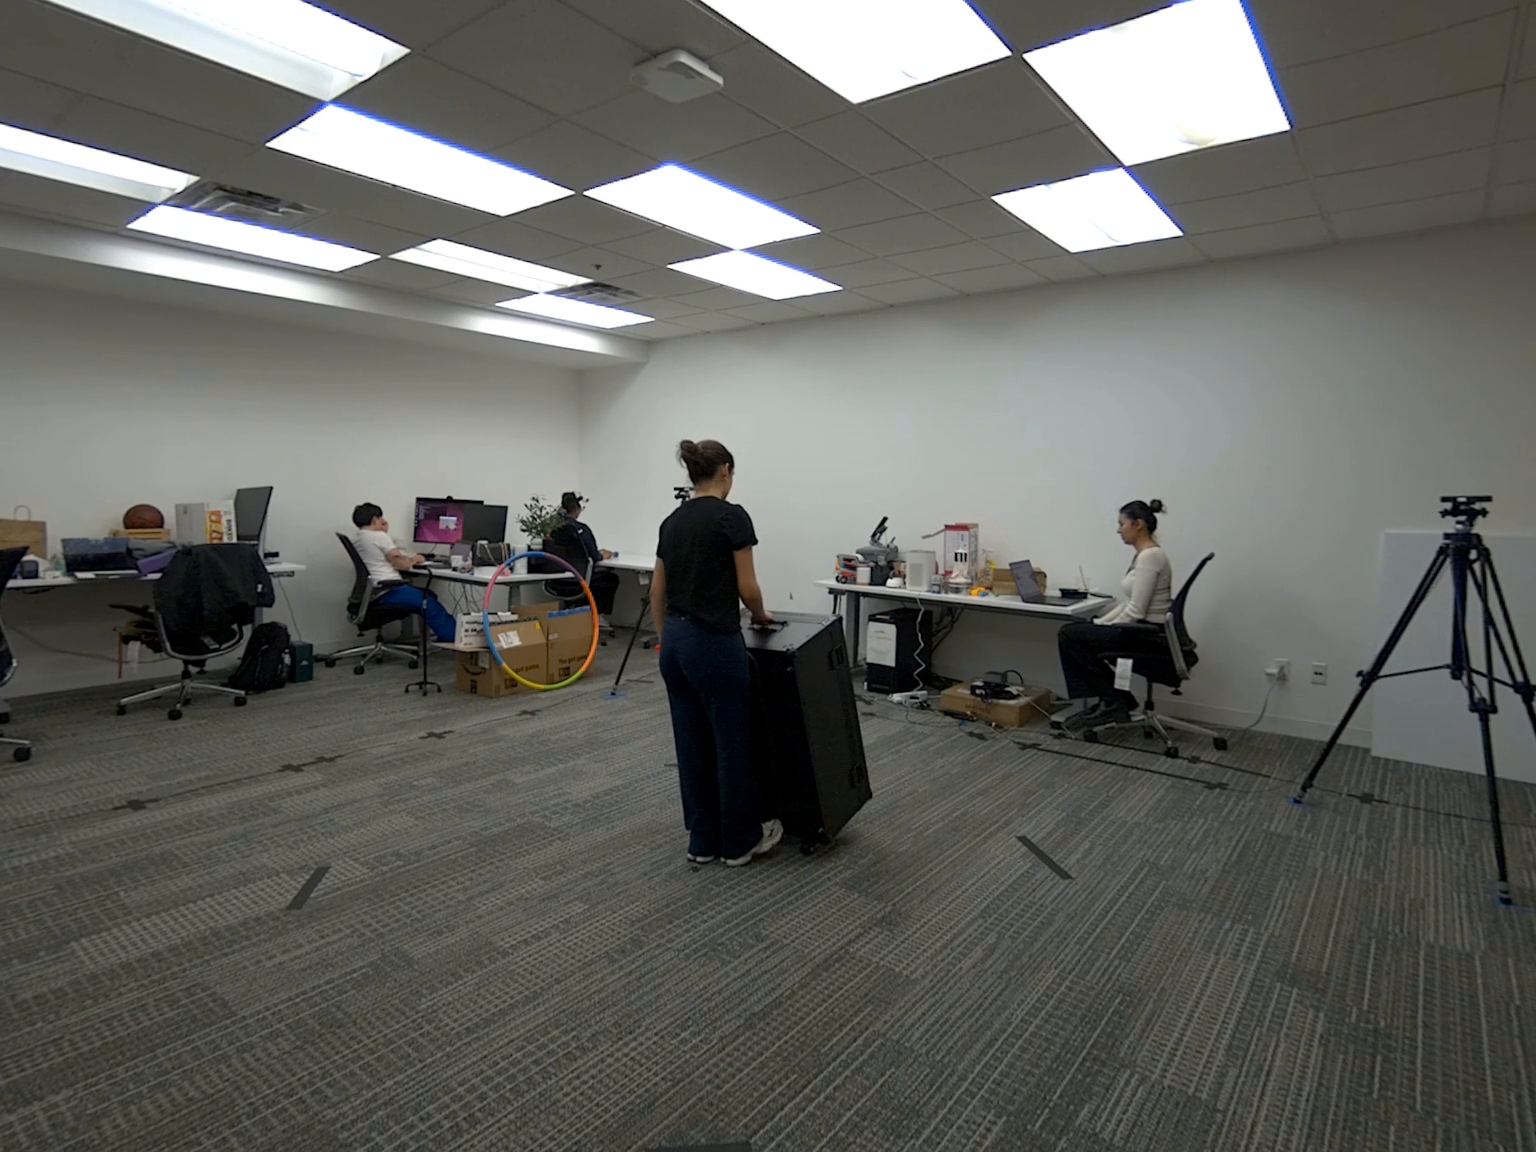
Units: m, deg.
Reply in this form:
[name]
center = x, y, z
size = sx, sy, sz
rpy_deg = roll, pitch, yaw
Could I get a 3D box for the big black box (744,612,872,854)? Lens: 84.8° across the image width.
[big black box]
center = 0.066, 0.548, 3.355
size = 0.538, 0.849, 0.389
rpy_deg = 1, 17, 39
